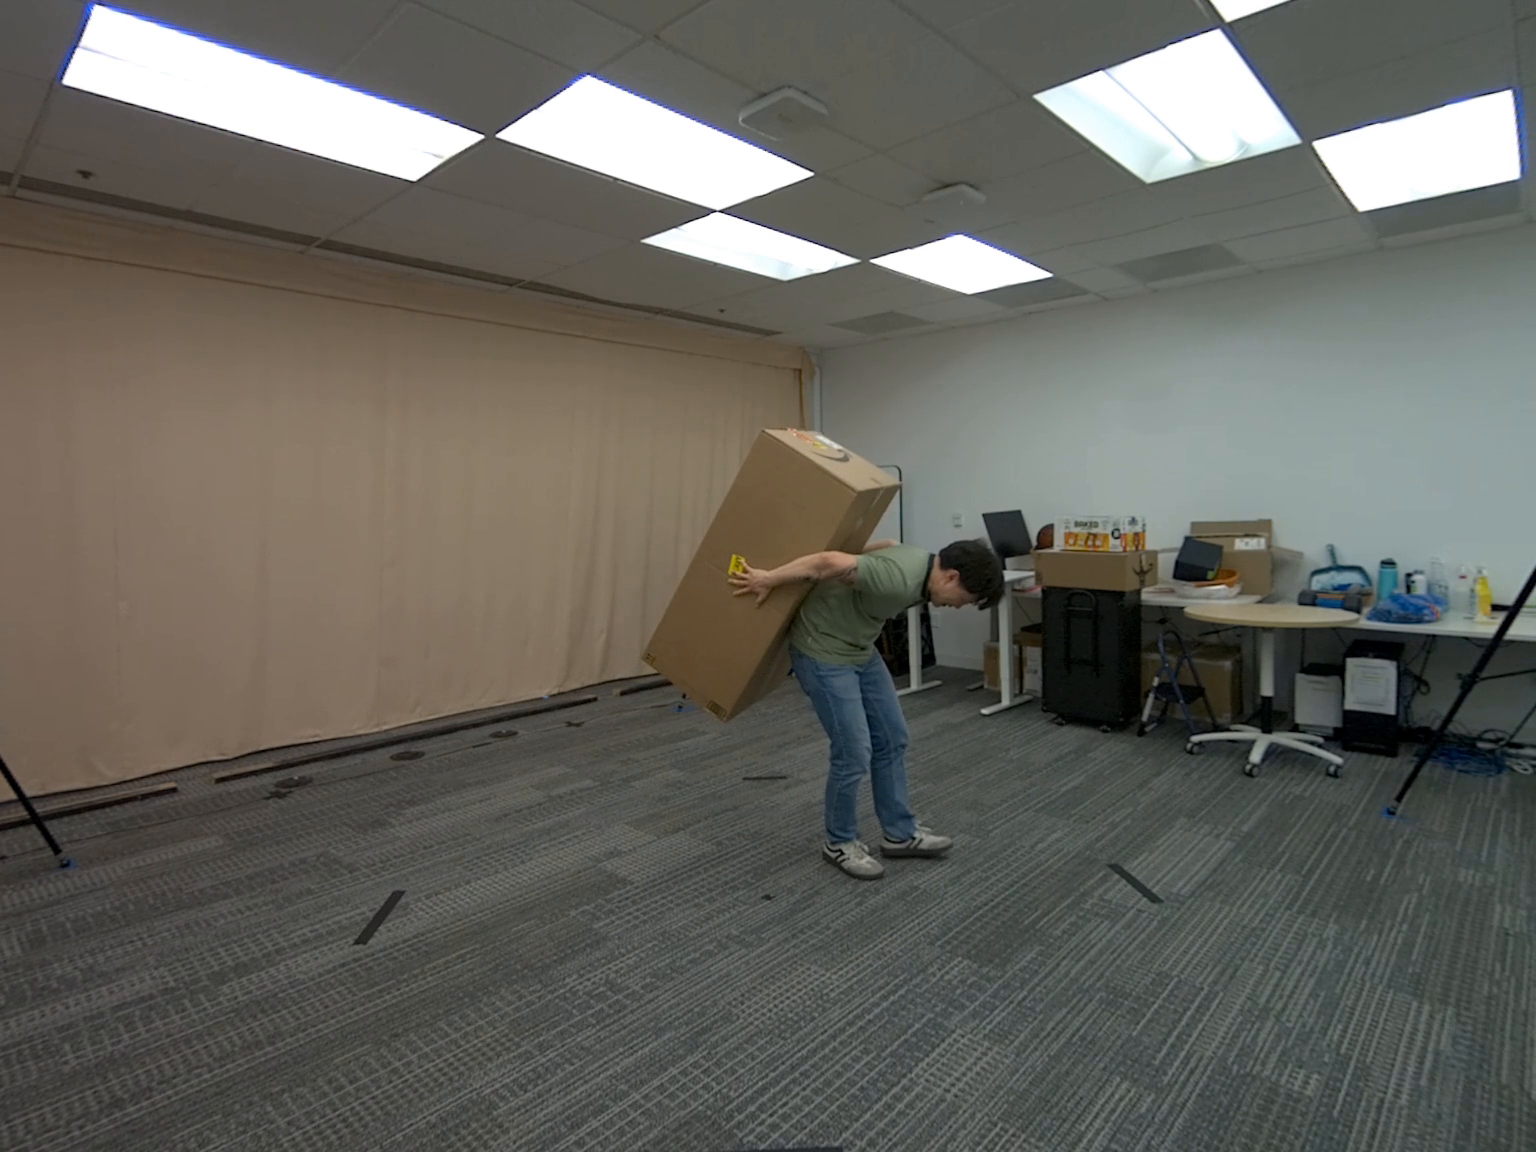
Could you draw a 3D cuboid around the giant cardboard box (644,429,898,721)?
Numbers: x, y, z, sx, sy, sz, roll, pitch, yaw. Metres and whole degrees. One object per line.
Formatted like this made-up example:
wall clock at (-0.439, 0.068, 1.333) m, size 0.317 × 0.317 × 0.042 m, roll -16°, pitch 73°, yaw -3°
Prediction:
giant cardboard box at (0.018, -0.017, 3.300) m, size 0.436 × 1.025 × 0.565 m, roll 35°, pitch 20°, yaw 18°
